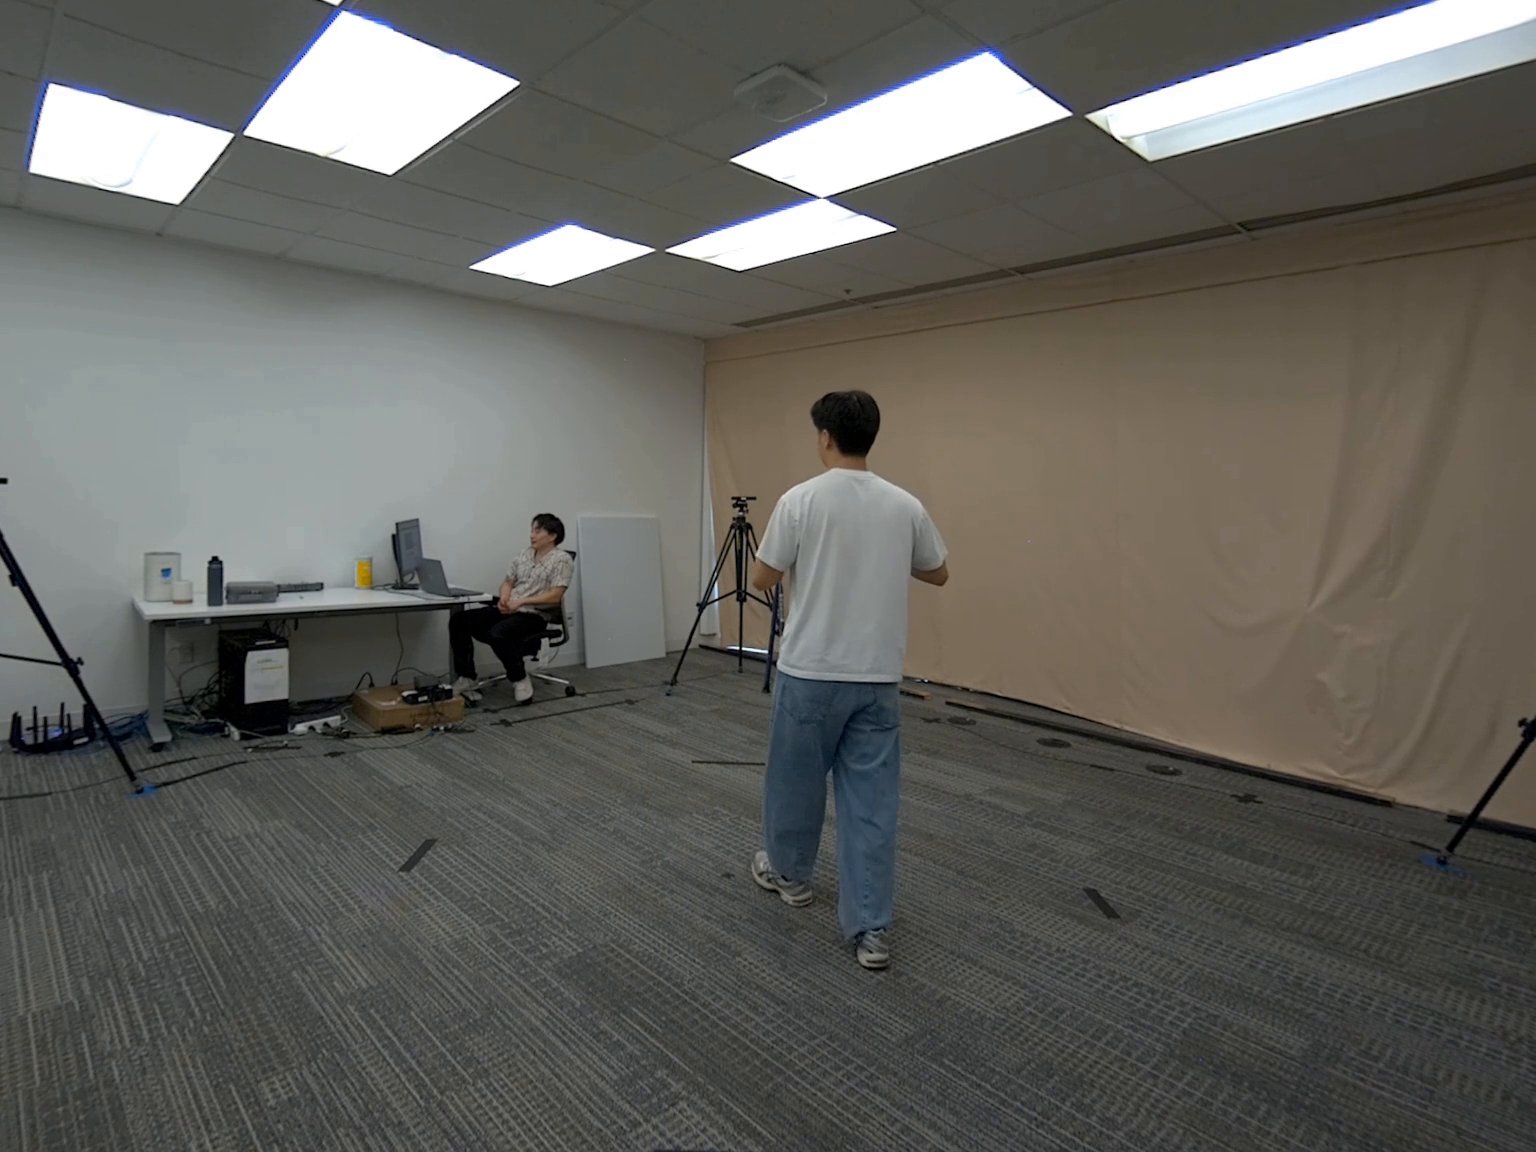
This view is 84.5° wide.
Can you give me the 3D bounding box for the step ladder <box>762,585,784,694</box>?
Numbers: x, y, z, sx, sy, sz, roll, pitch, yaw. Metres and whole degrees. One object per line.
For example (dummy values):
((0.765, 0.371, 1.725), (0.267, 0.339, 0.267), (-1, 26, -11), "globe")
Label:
((0.209, 0.148, 3.048), (0.426, 0.604, 0.354), (-2, 3, -14), "step ladder")
